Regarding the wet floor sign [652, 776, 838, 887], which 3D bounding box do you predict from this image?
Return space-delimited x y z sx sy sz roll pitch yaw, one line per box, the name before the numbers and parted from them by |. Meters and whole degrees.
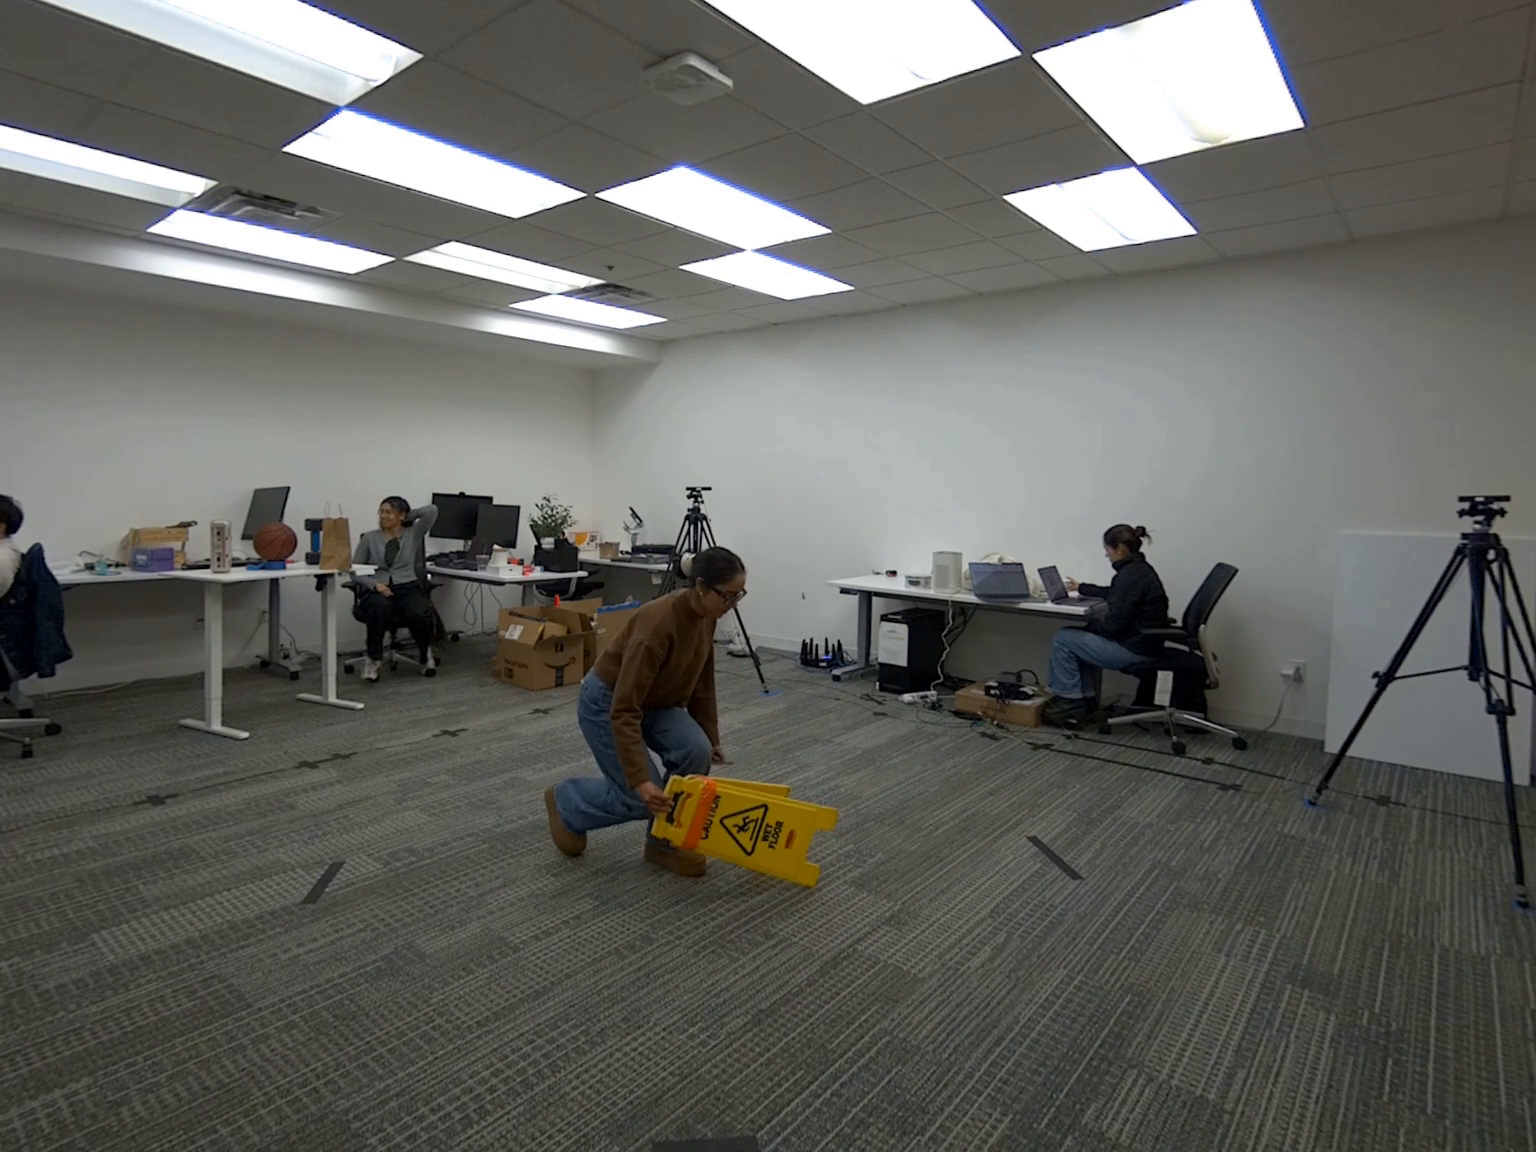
wet floor sign | -0.118 0.847 2.936 0.622 0.283 0.299 24 -9 -36
